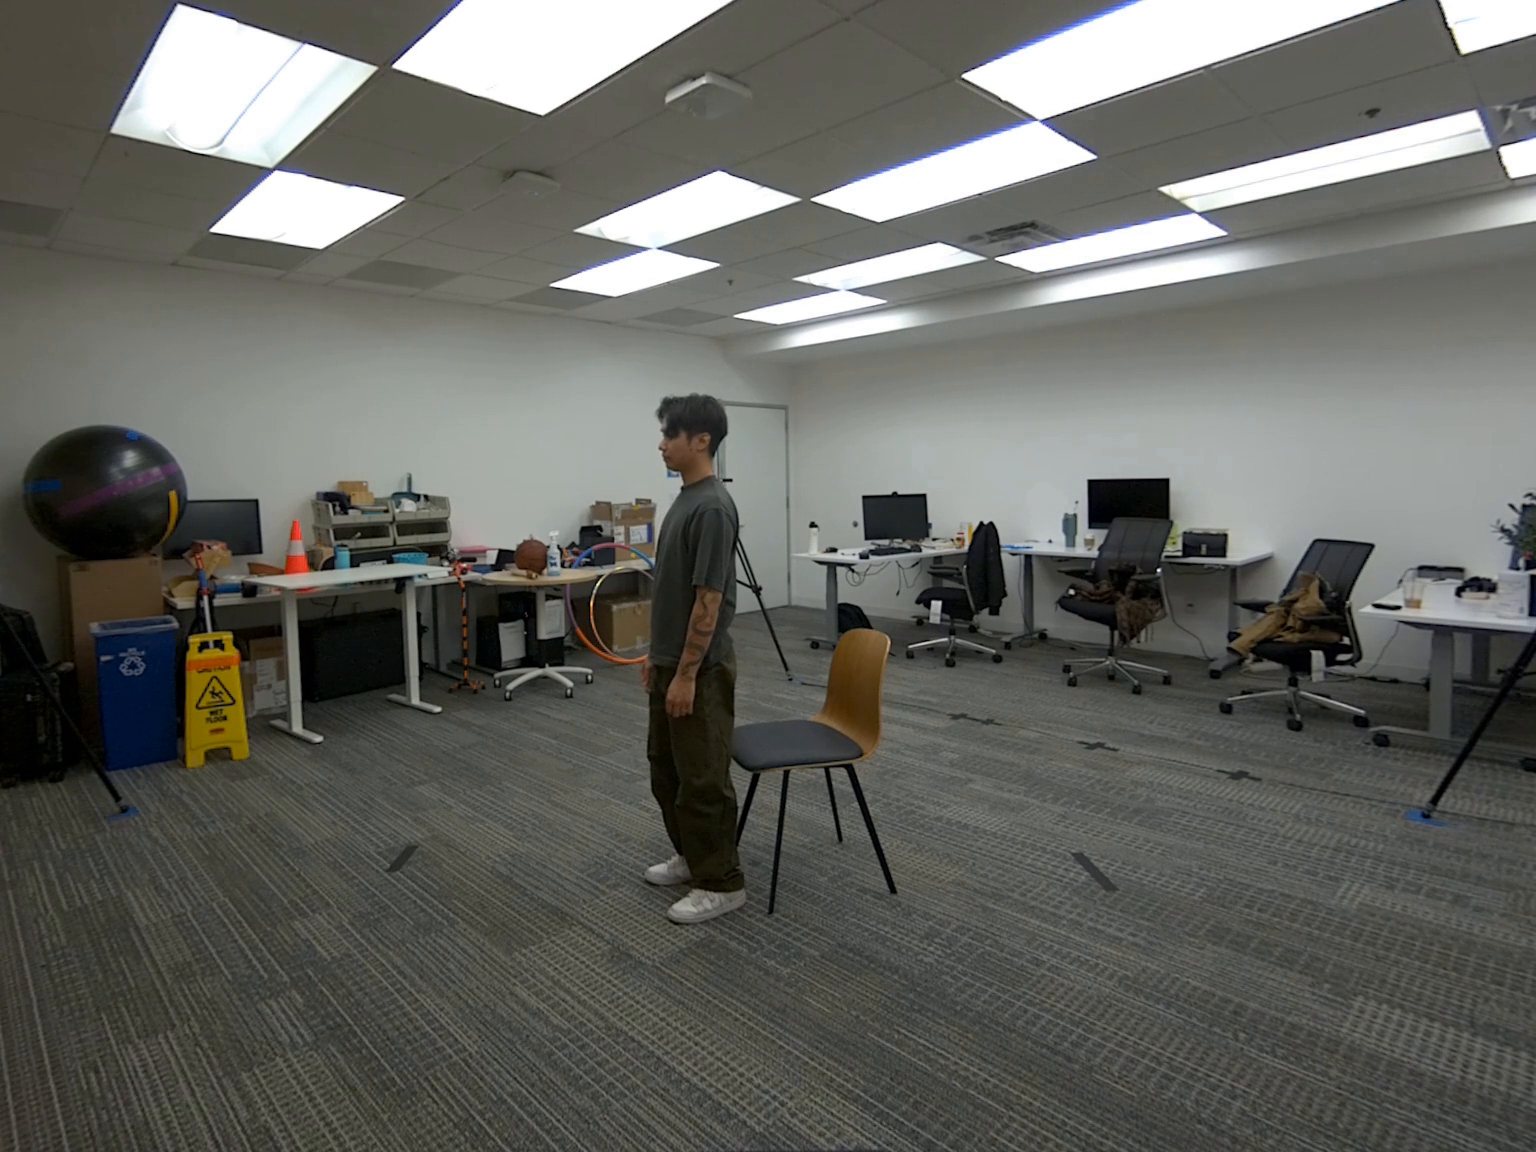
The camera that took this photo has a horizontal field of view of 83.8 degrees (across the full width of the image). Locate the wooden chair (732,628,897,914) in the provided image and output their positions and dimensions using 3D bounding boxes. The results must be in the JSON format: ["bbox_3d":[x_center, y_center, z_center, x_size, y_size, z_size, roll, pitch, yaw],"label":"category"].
[{"bbox_3d":[0.134,0.628,2.982,0.514,0.875,0.487,2,3,-18],"label":"wooden chair"}]
